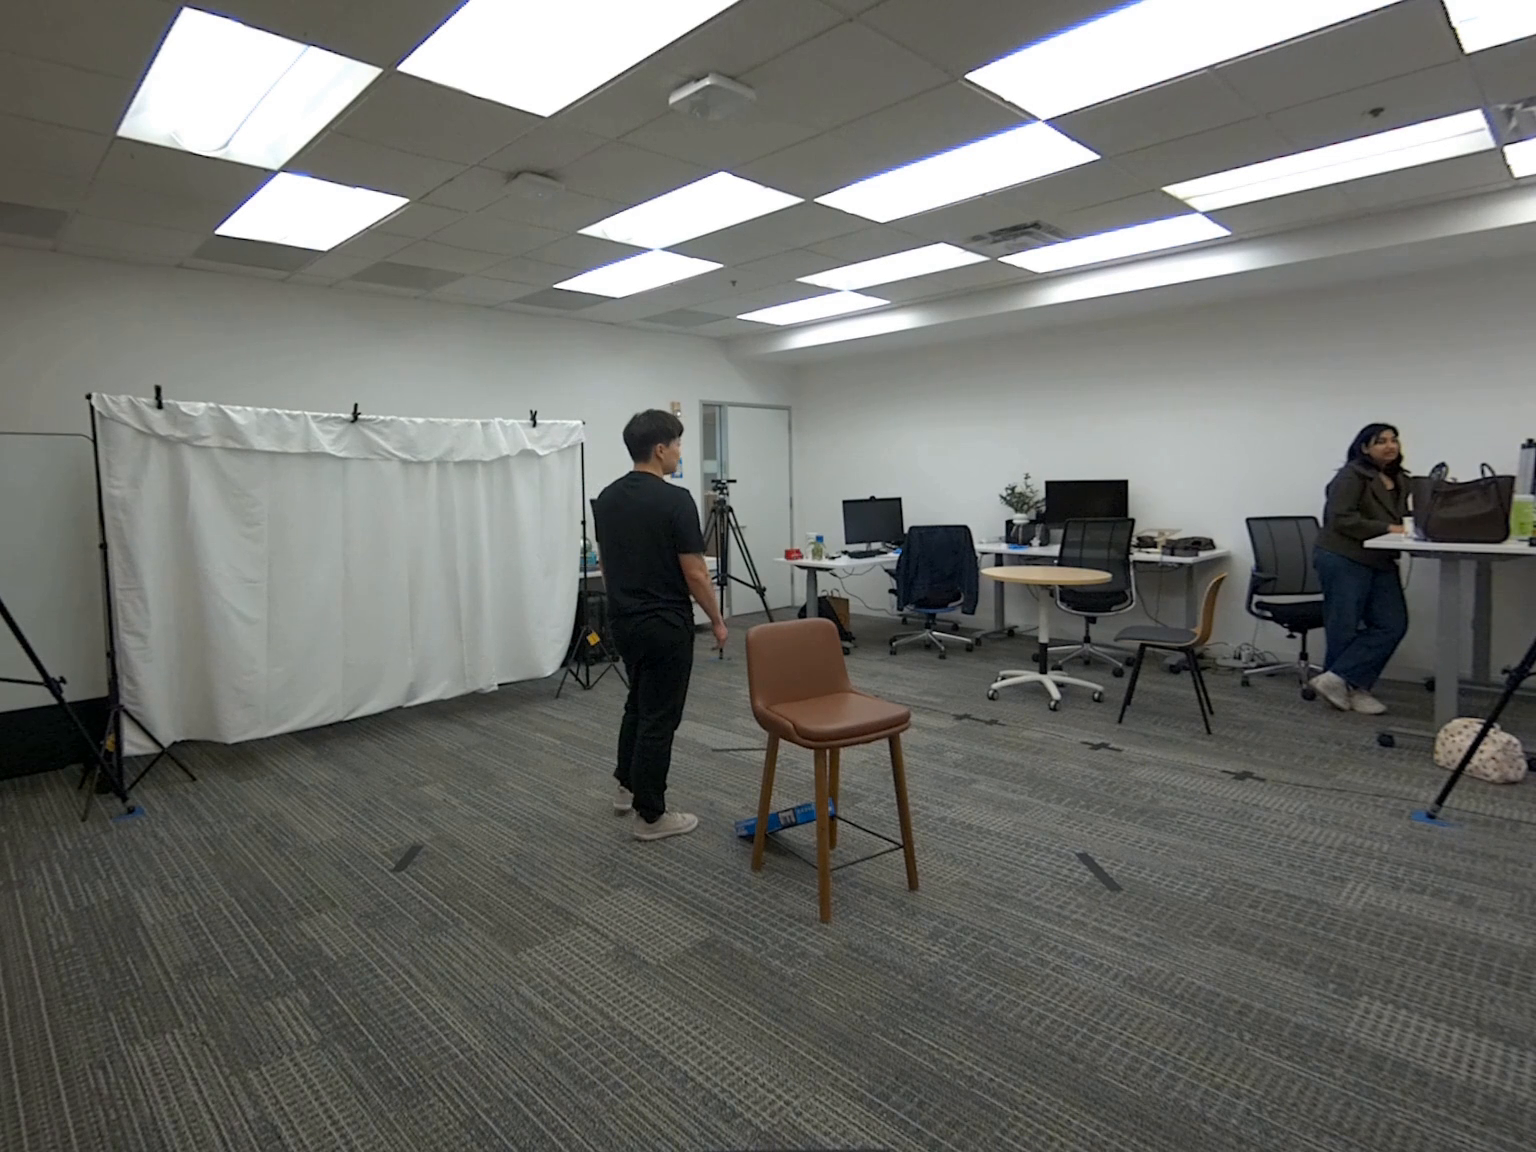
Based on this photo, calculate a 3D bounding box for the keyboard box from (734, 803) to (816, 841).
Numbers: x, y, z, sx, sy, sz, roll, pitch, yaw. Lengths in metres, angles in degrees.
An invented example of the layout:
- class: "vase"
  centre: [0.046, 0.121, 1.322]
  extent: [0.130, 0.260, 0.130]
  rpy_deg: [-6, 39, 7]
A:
- class: "keyboard box"
  centre: [0.055, 0.918, 3.222]
  extent: [0.172, 0.060, 0.439]
  rpy_deg: [-5, -18, -34]
